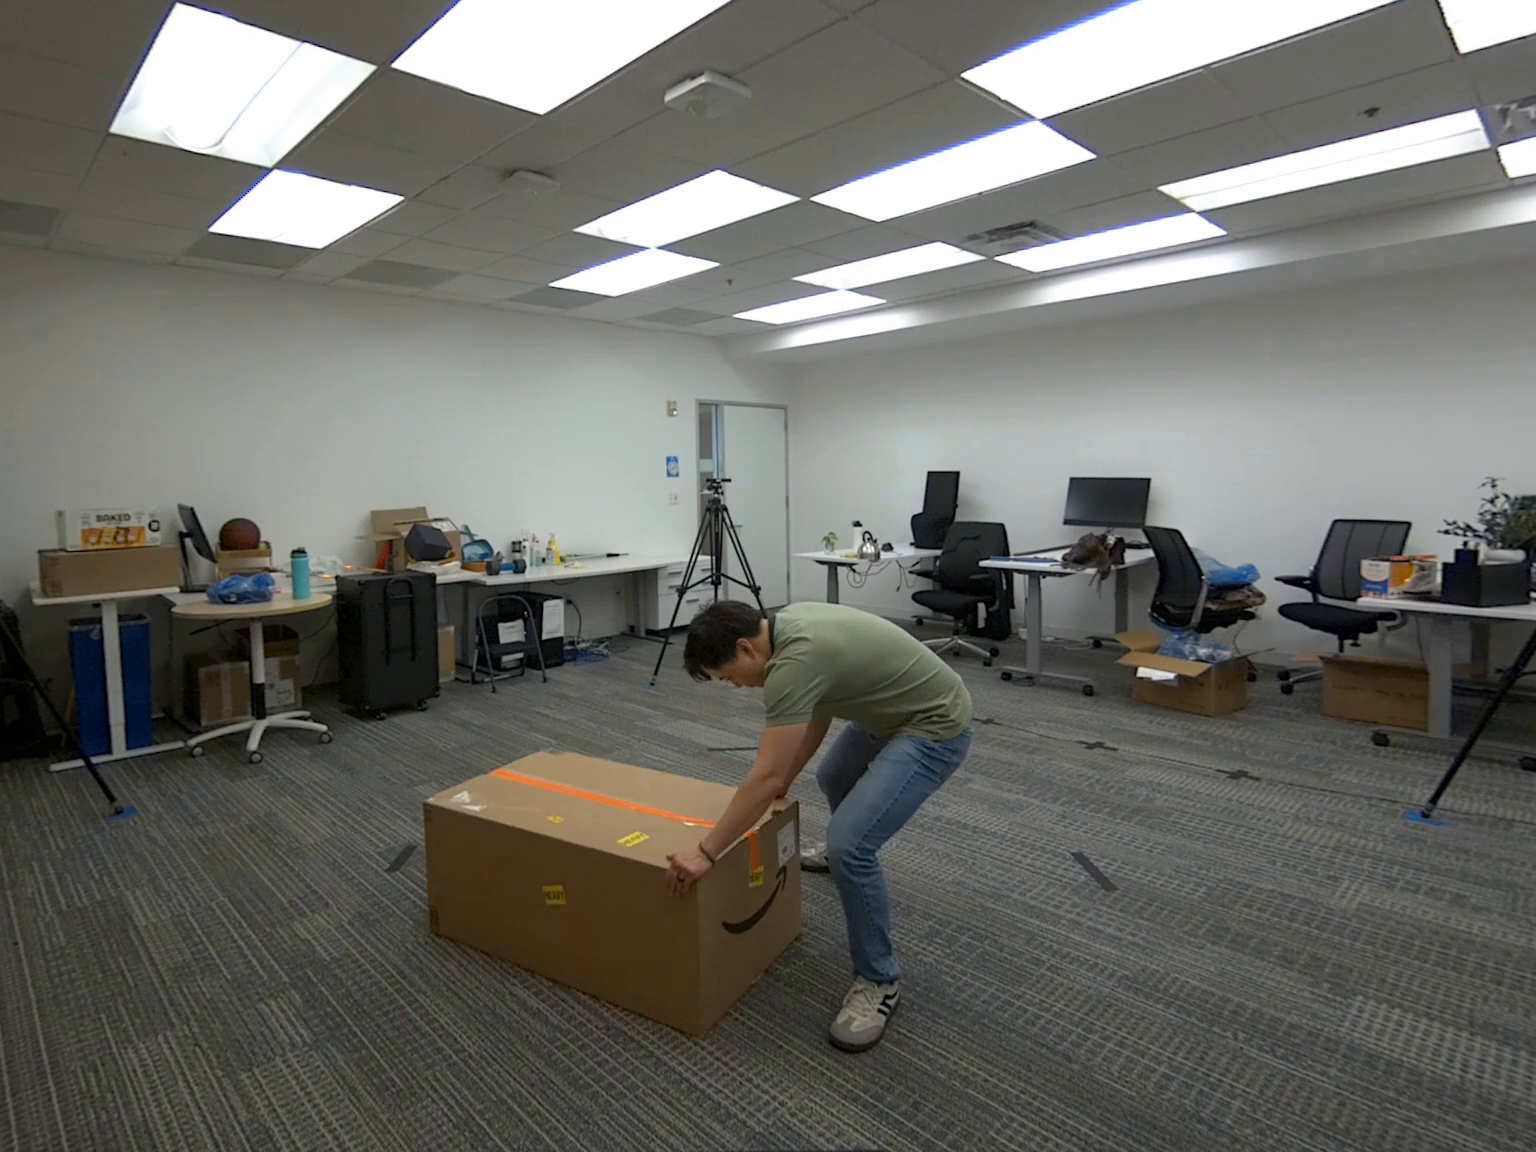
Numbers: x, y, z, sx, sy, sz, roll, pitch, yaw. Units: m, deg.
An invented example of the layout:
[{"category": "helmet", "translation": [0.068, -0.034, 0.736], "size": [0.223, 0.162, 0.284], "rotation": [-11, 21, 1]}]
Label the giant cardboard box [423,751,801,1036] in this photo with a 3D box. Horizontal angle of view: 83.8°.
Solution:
[{"category": "giant cardboard box", "translation": [-0.482, 0.895, 2.637], "size": [1.053, 0.424, 0.565], "rotation": [3, 8, 30]}]
